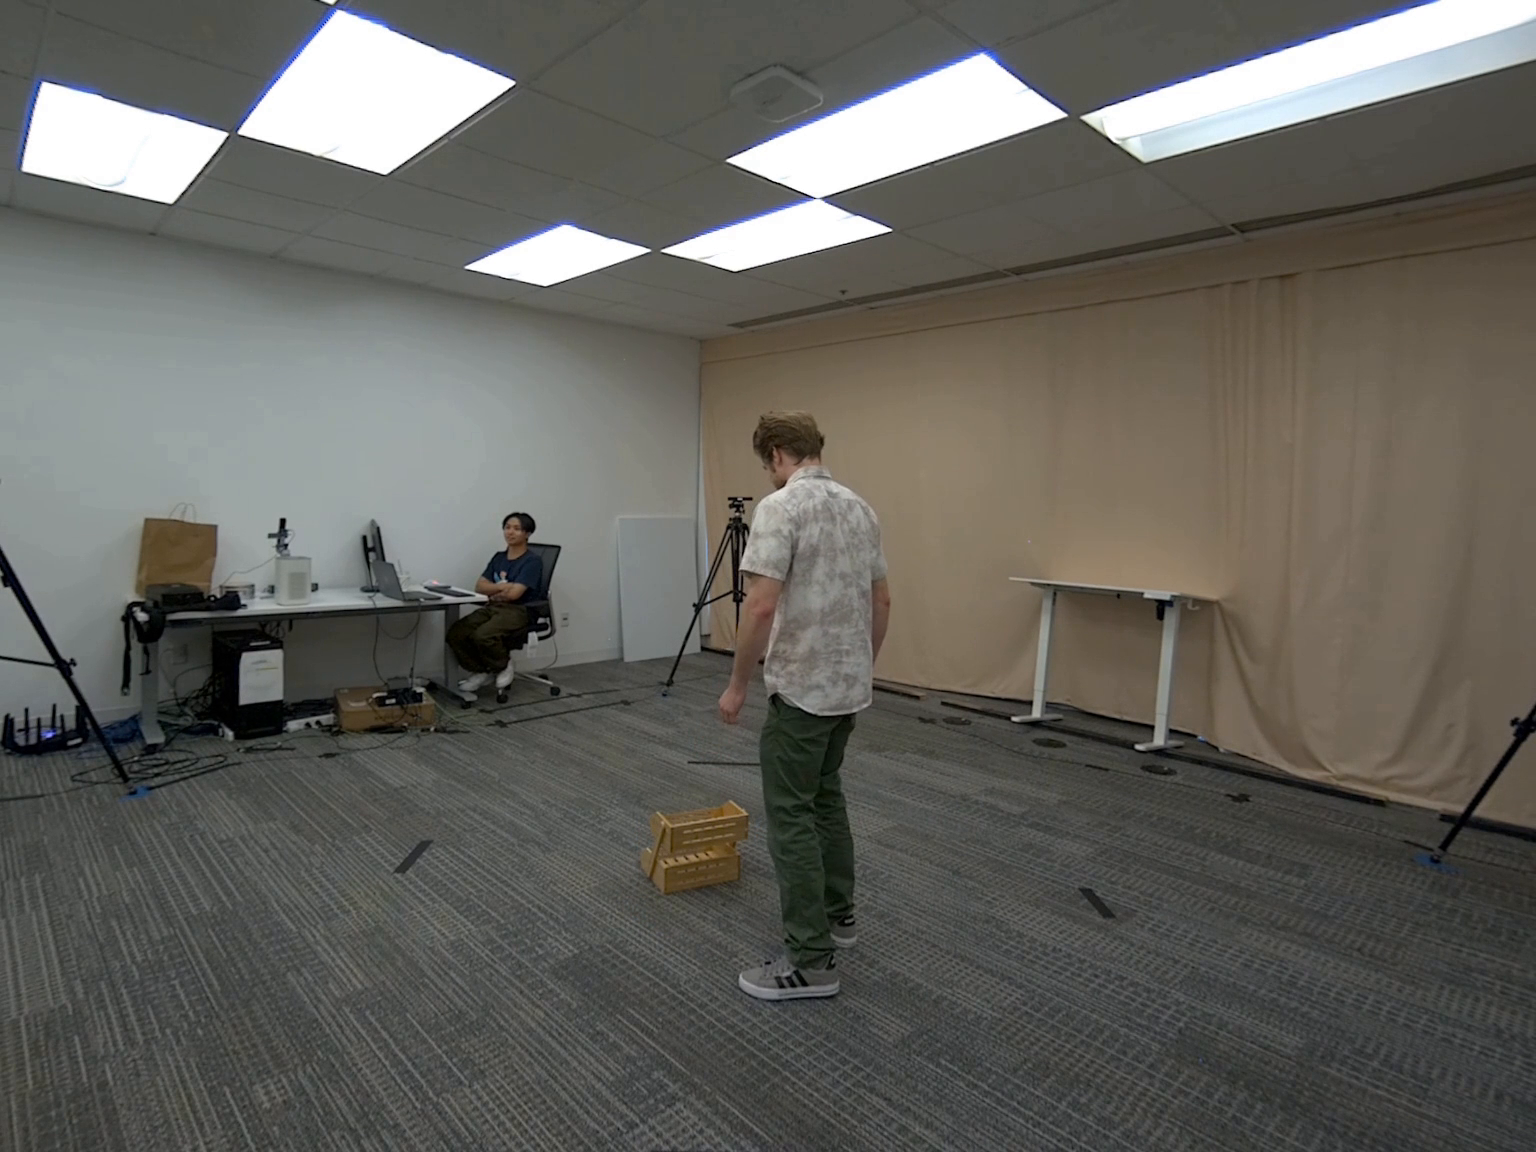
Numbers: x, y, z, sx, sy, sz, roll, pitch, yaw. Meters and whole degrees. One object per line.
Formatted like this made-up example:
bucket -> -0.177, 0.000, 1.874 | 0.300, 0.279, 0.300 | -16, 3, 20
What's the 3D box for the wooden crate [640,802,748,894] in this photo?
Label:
wooden crate -> -0.285, 0.971, 3.099 | 0.318, 0.272, 0.309 | -1, 5, -28
